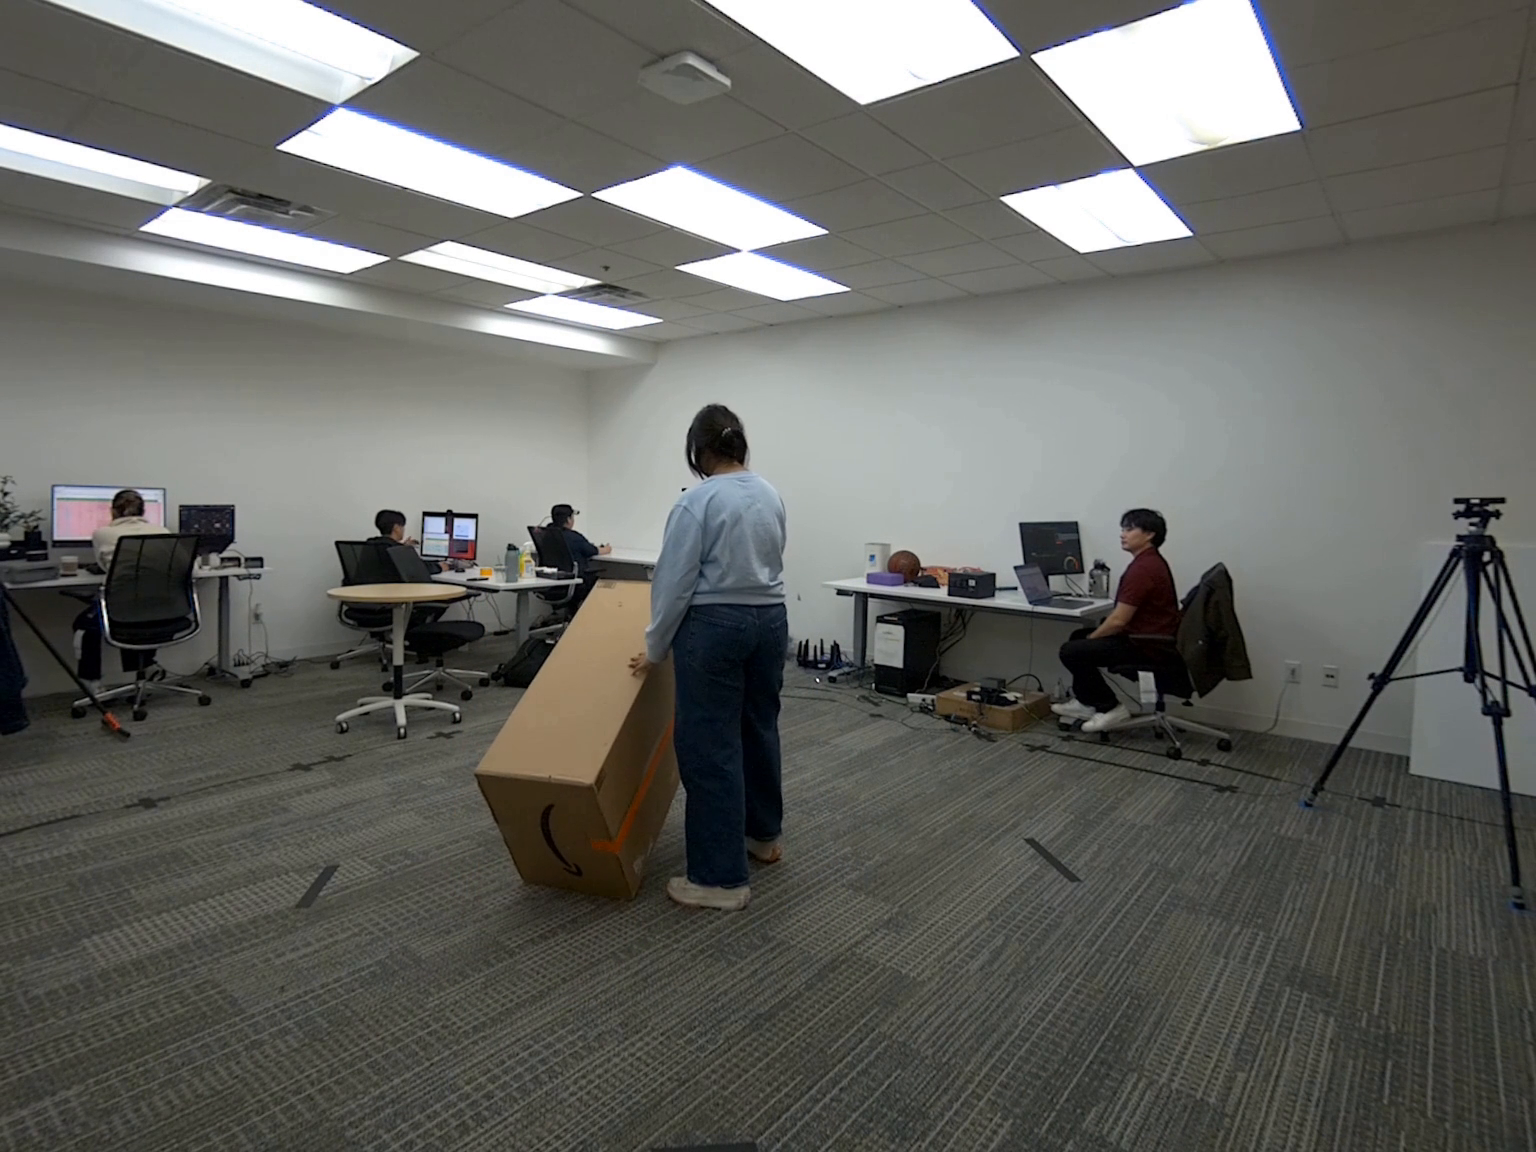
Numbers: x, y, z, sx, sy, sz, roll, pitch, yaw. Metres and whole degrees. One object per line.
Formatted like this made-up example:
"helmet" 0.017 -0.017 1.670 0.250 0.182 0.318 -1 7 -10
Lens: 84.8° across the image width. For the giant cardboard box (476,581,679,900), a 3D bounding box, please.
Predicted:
"giant cardboard box" -0.586 0.554 3.168 0.455 0.566 1.040 1 36 17
